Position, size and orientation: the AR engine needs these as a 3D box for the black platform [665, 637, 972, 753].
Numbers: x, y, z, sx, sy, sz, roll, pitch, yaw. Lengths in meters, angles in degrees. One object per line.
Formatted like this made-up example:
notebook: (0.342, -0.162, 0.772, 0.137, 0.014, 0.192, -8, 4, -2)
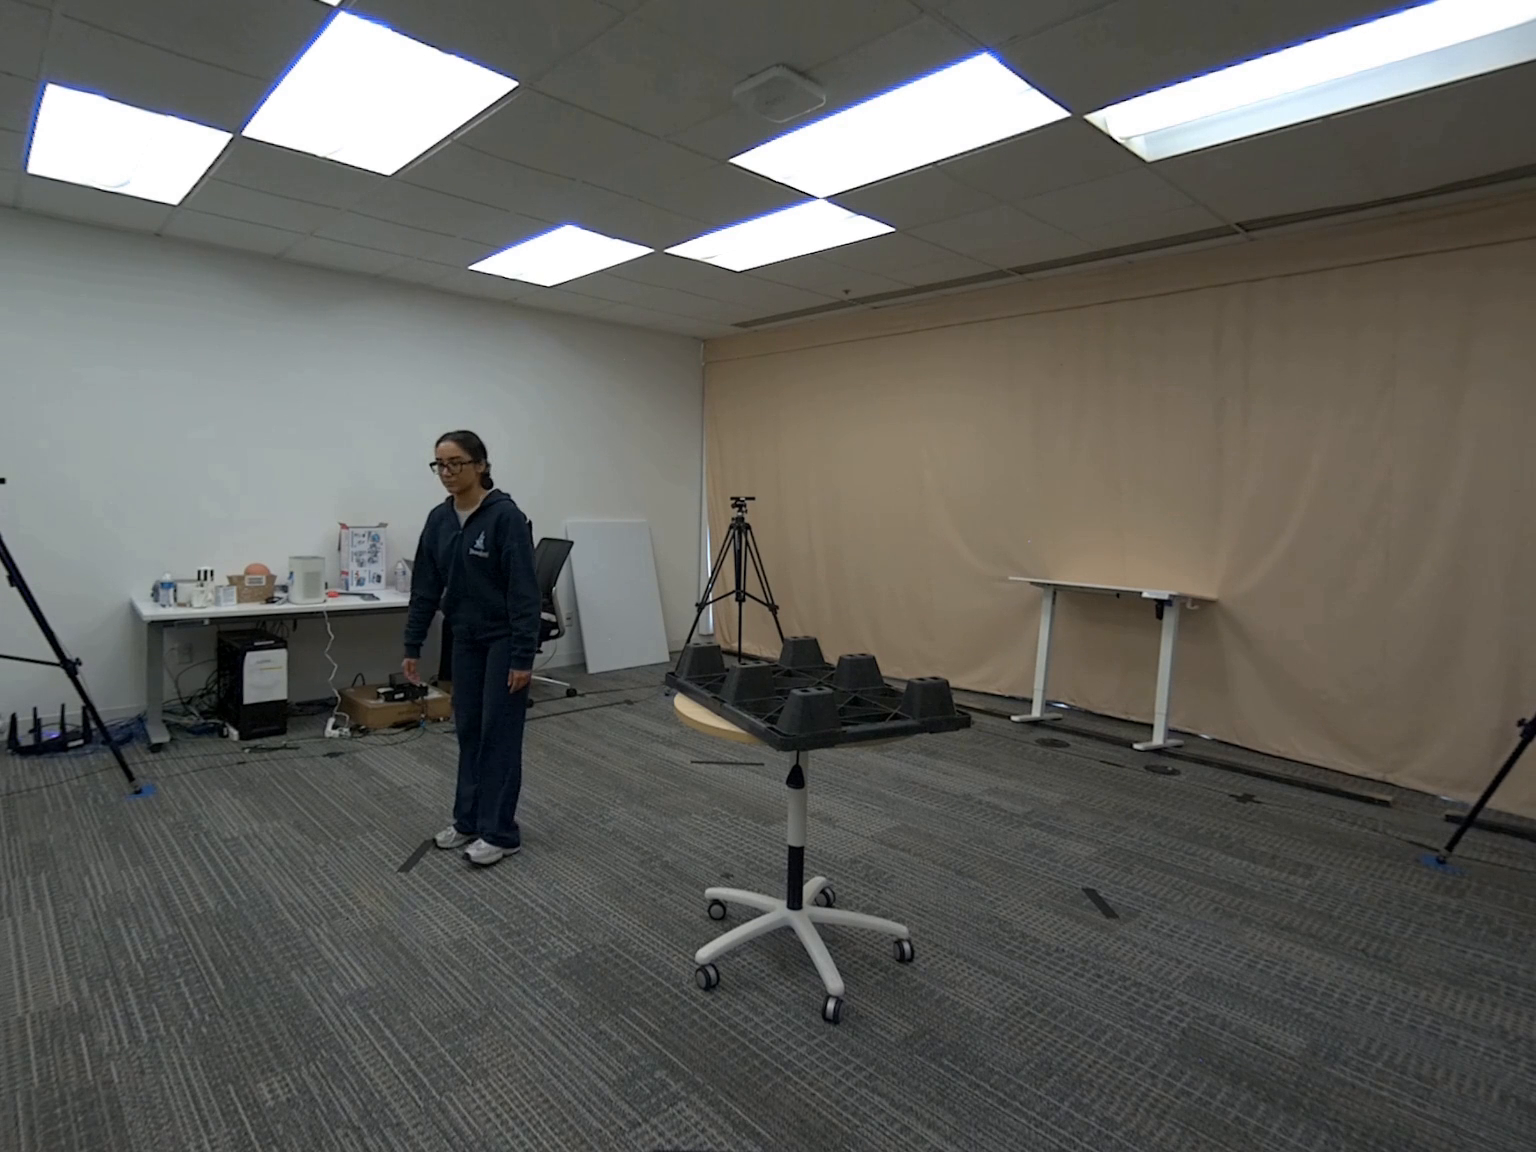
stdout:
black platform: (0.114, 0.322, 2.518, 0.594, 0.143, 0.823, -2, 7, -28)
